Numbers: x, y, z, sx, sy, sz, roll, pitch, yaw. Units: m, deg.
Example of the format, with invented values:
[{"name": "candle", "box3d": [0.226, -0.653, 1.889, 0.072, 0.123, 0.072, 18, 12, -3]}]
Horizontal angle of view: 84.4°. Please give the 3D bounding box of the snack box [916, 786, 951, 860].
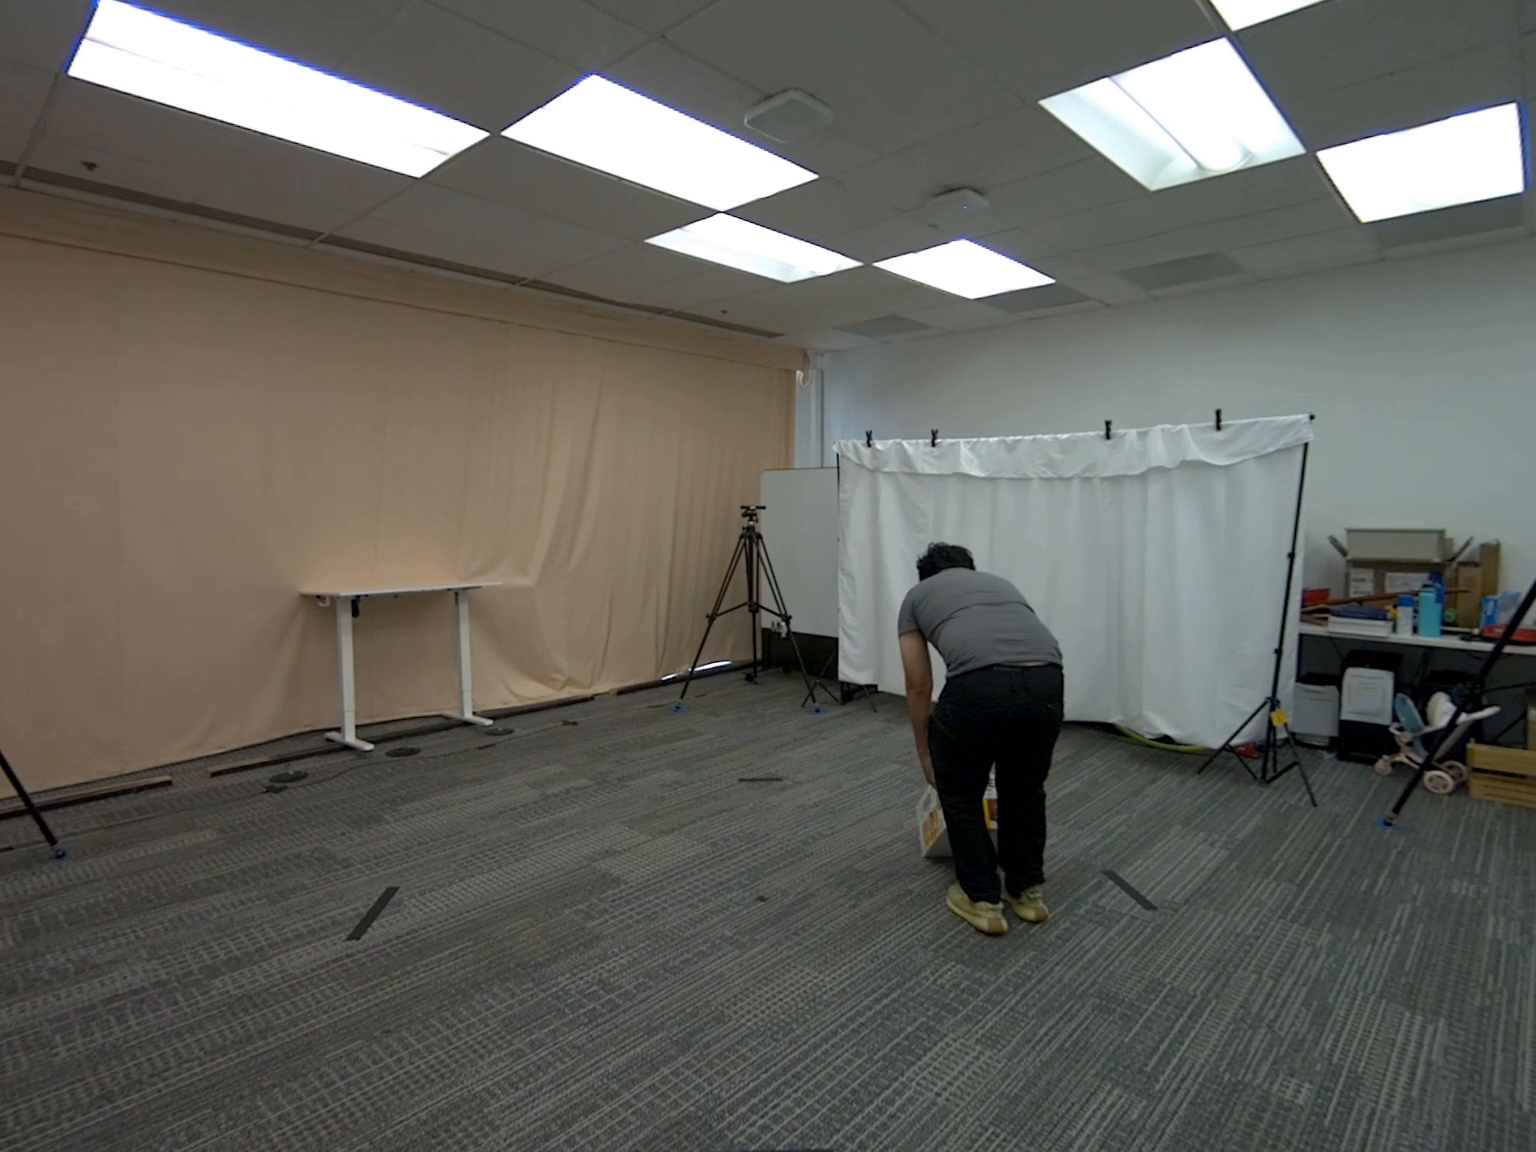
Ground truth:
[{"name": "snack box", "box3d": [0.797, 0.927, 3.220, 0.340, 0.209, 0.398, 1, -33, -1]}]
